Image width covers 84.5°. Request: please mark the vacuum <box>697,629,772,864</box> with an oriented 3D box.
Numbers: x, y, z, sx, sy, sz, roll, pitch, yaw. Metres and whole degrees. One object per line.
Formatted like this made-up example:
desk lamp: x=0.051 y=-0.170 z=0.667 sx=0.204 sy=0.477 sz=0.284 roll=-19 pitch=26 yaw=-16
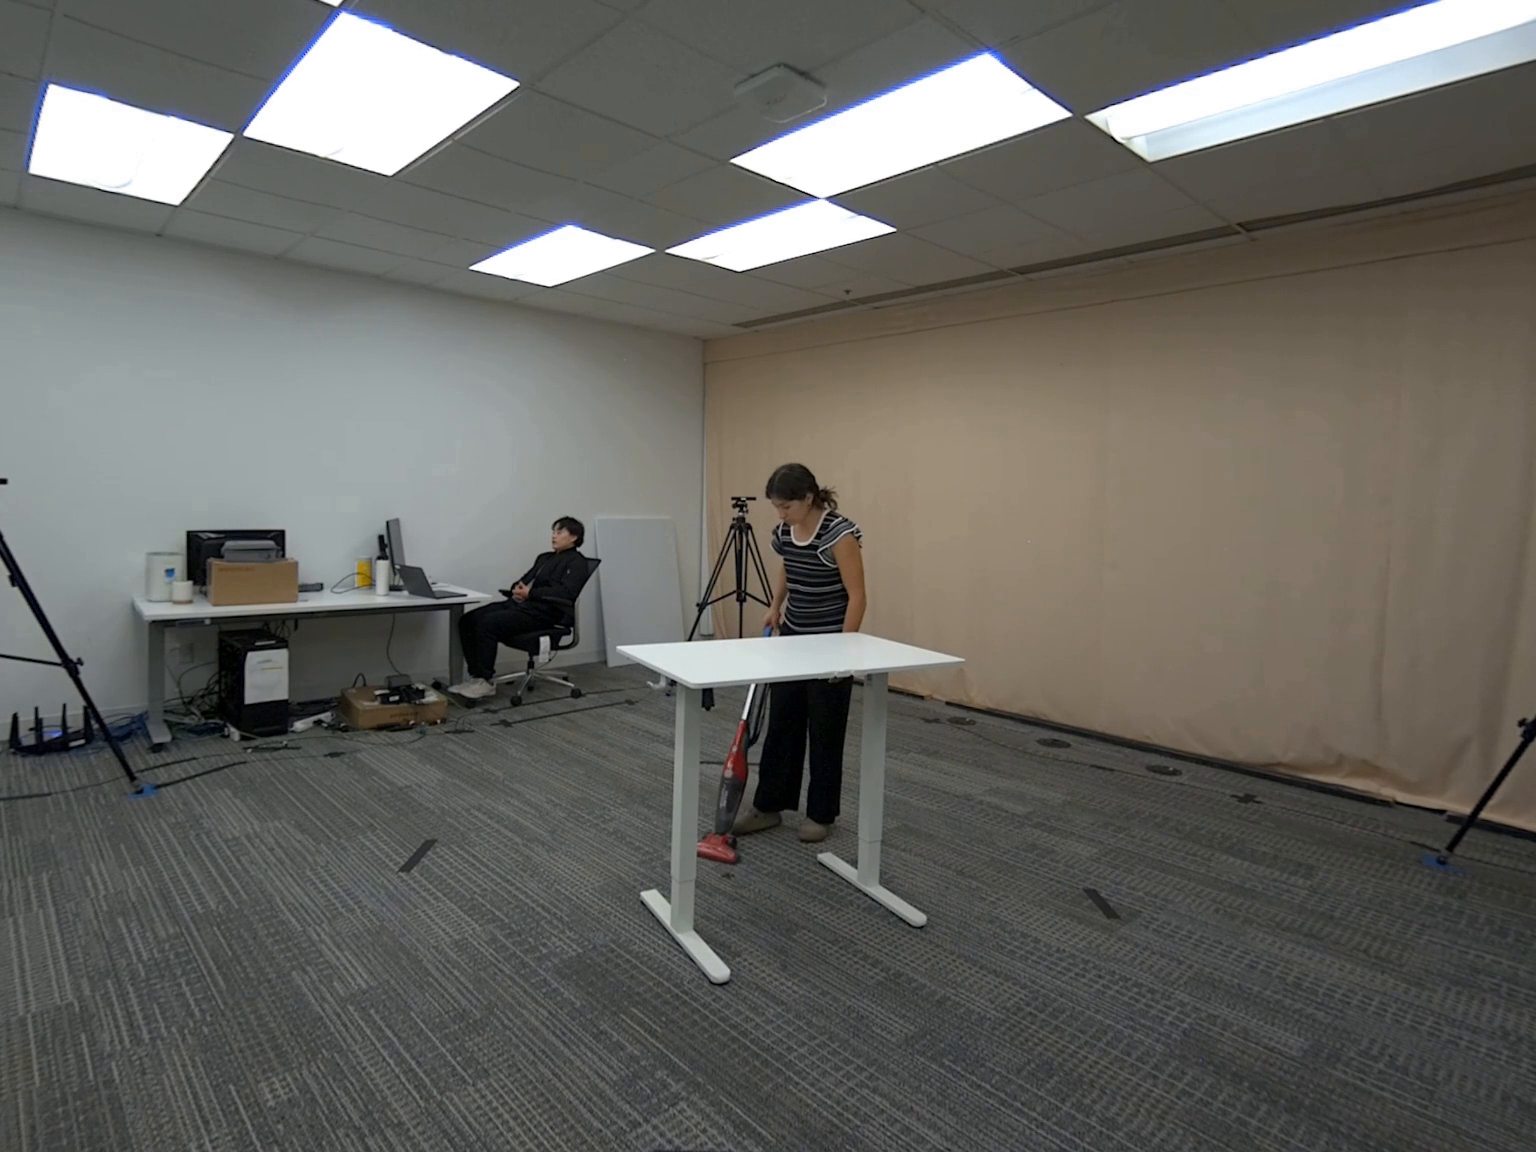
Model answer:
vacuum: x=-0.102 y=0.635 z=3.533 sx=0.257 sy=1.062 sz=0.139 roll=3 pitch=-30 yaw=23
